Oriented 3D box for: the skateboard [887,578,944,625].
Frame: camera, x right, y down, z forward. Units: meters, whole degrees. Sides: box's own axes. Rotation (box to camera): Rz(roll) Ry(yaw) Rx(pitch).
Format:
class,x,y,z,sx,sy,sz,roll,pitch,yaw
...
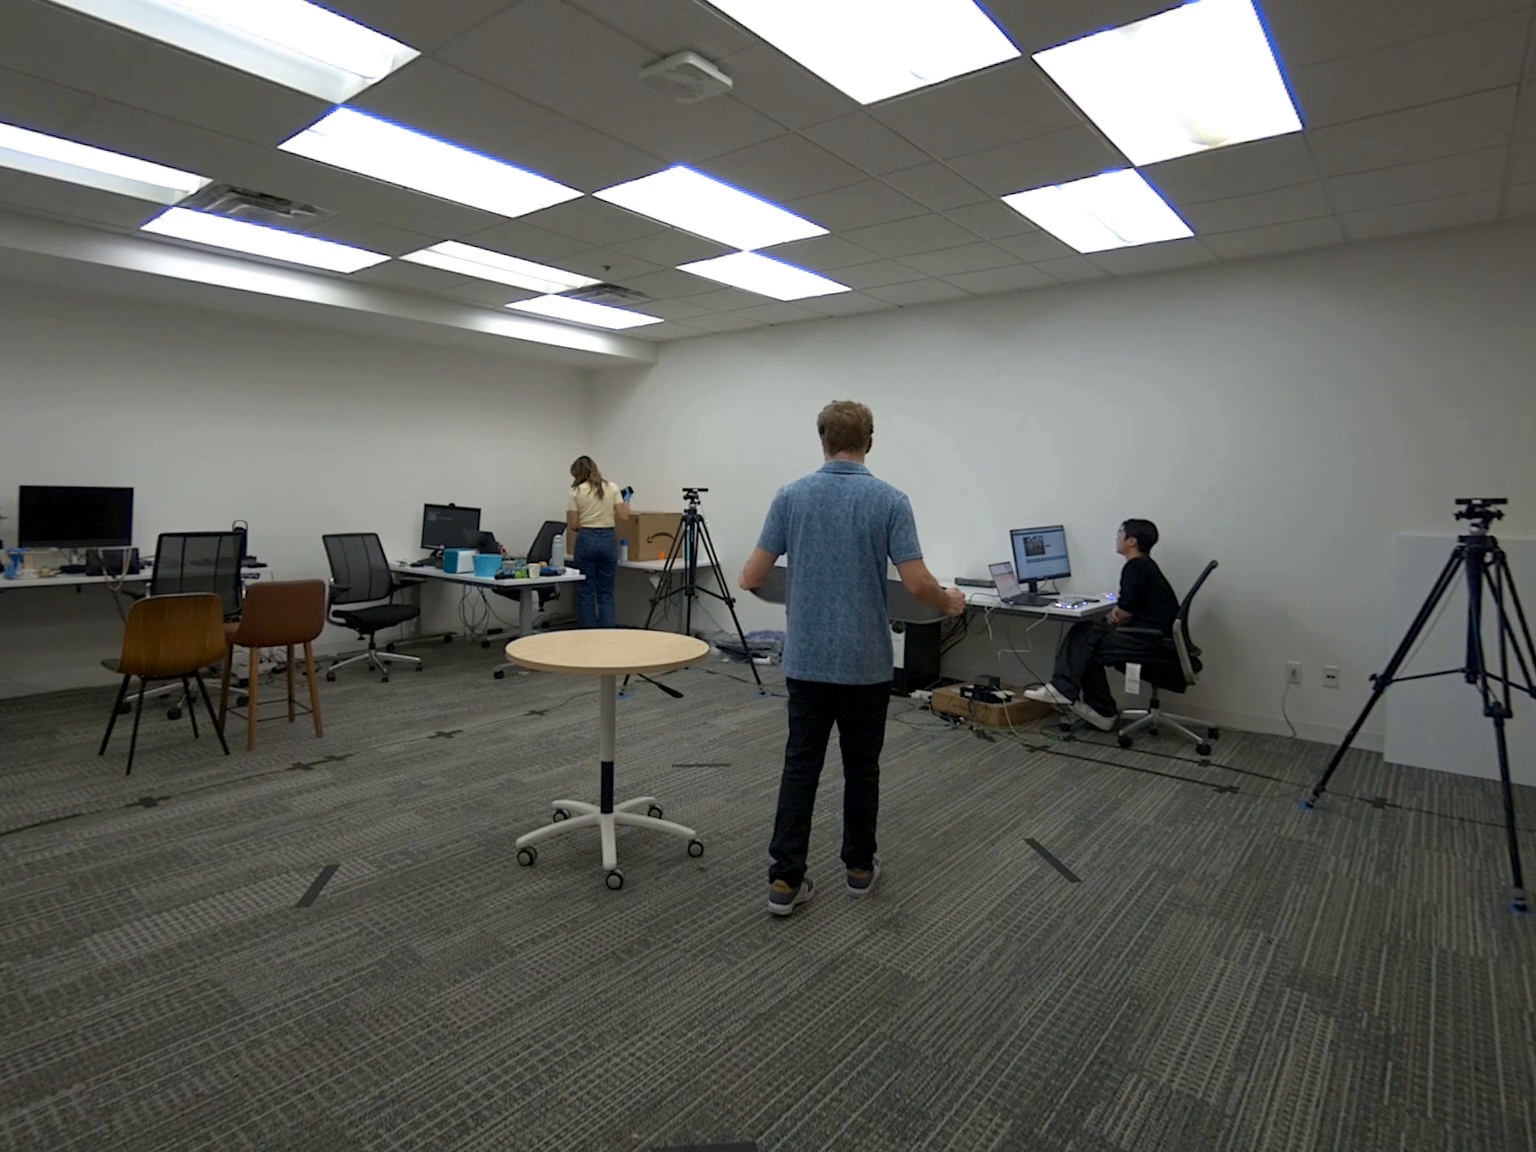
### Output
class,x,y,z,sx,sy,sz,roll,pitch,yaw
skateboard,0.320,0.095,3.151,0.804,0.106,0.196,6,46,21
